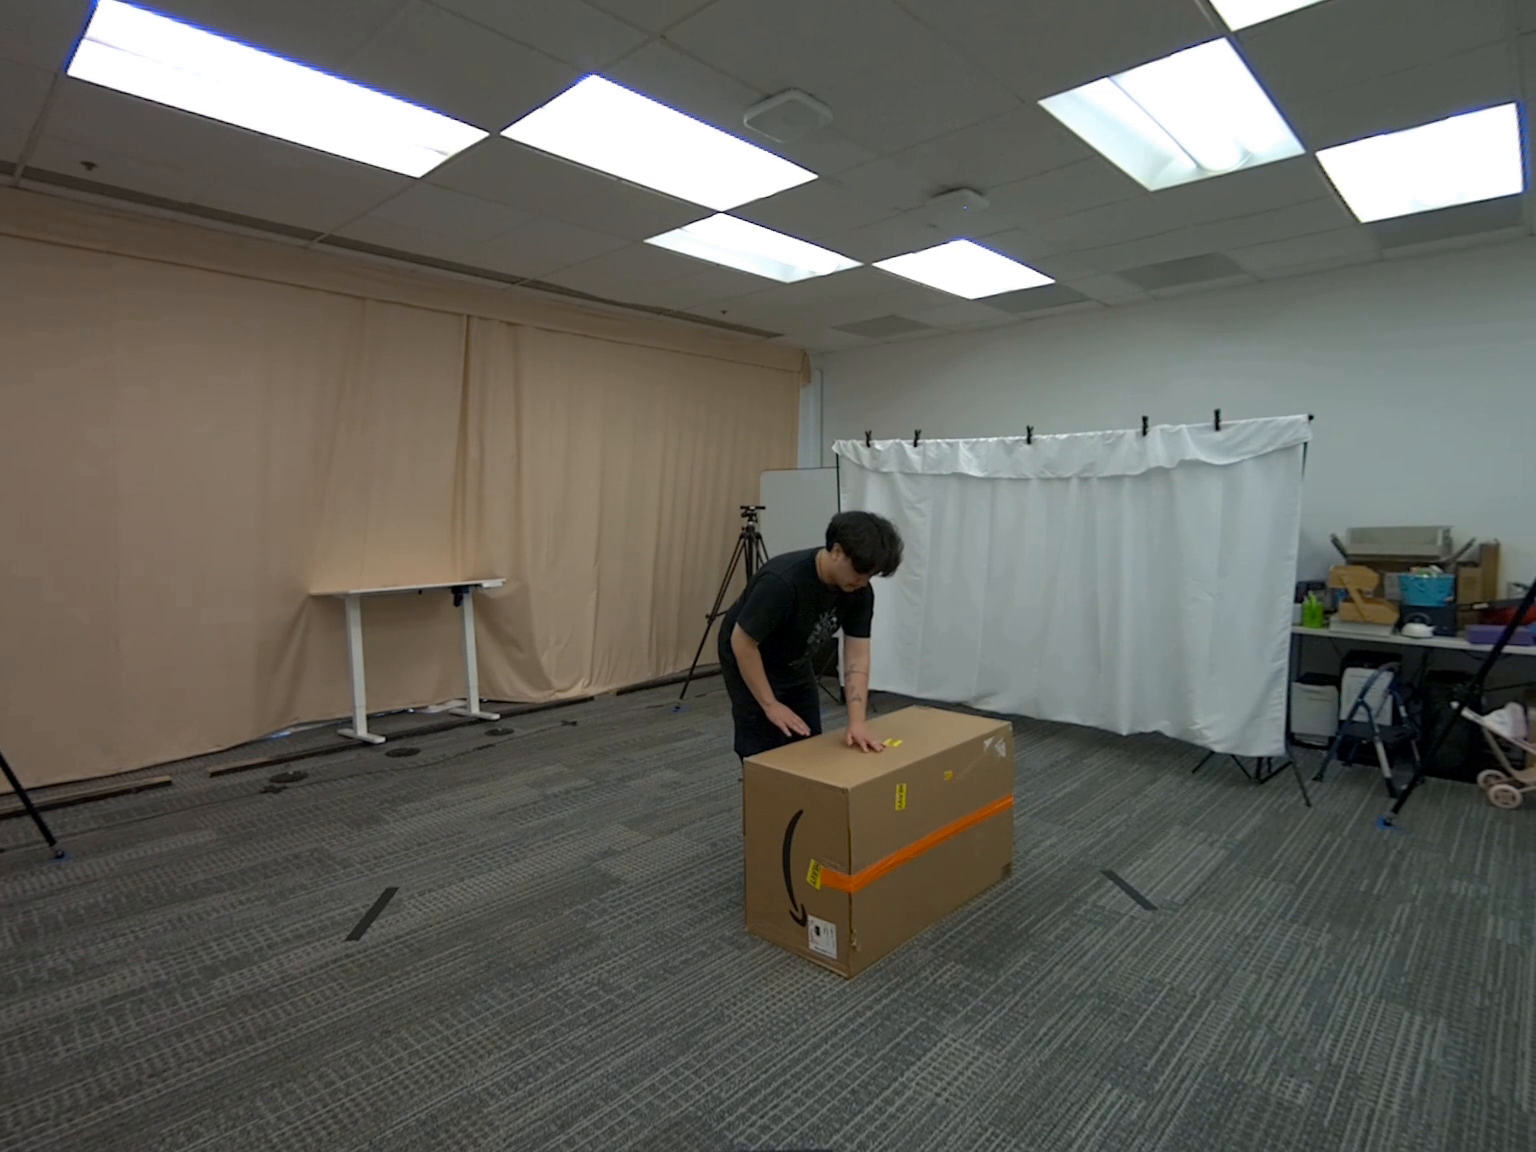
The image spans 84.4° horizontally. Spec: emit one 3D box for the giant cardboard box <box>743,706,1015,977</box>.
[{"bbox_3d":[0.428,0.860,2.953,0.462,0.582,0.996,4,7,43],"label":"giant cardboard box"}]
